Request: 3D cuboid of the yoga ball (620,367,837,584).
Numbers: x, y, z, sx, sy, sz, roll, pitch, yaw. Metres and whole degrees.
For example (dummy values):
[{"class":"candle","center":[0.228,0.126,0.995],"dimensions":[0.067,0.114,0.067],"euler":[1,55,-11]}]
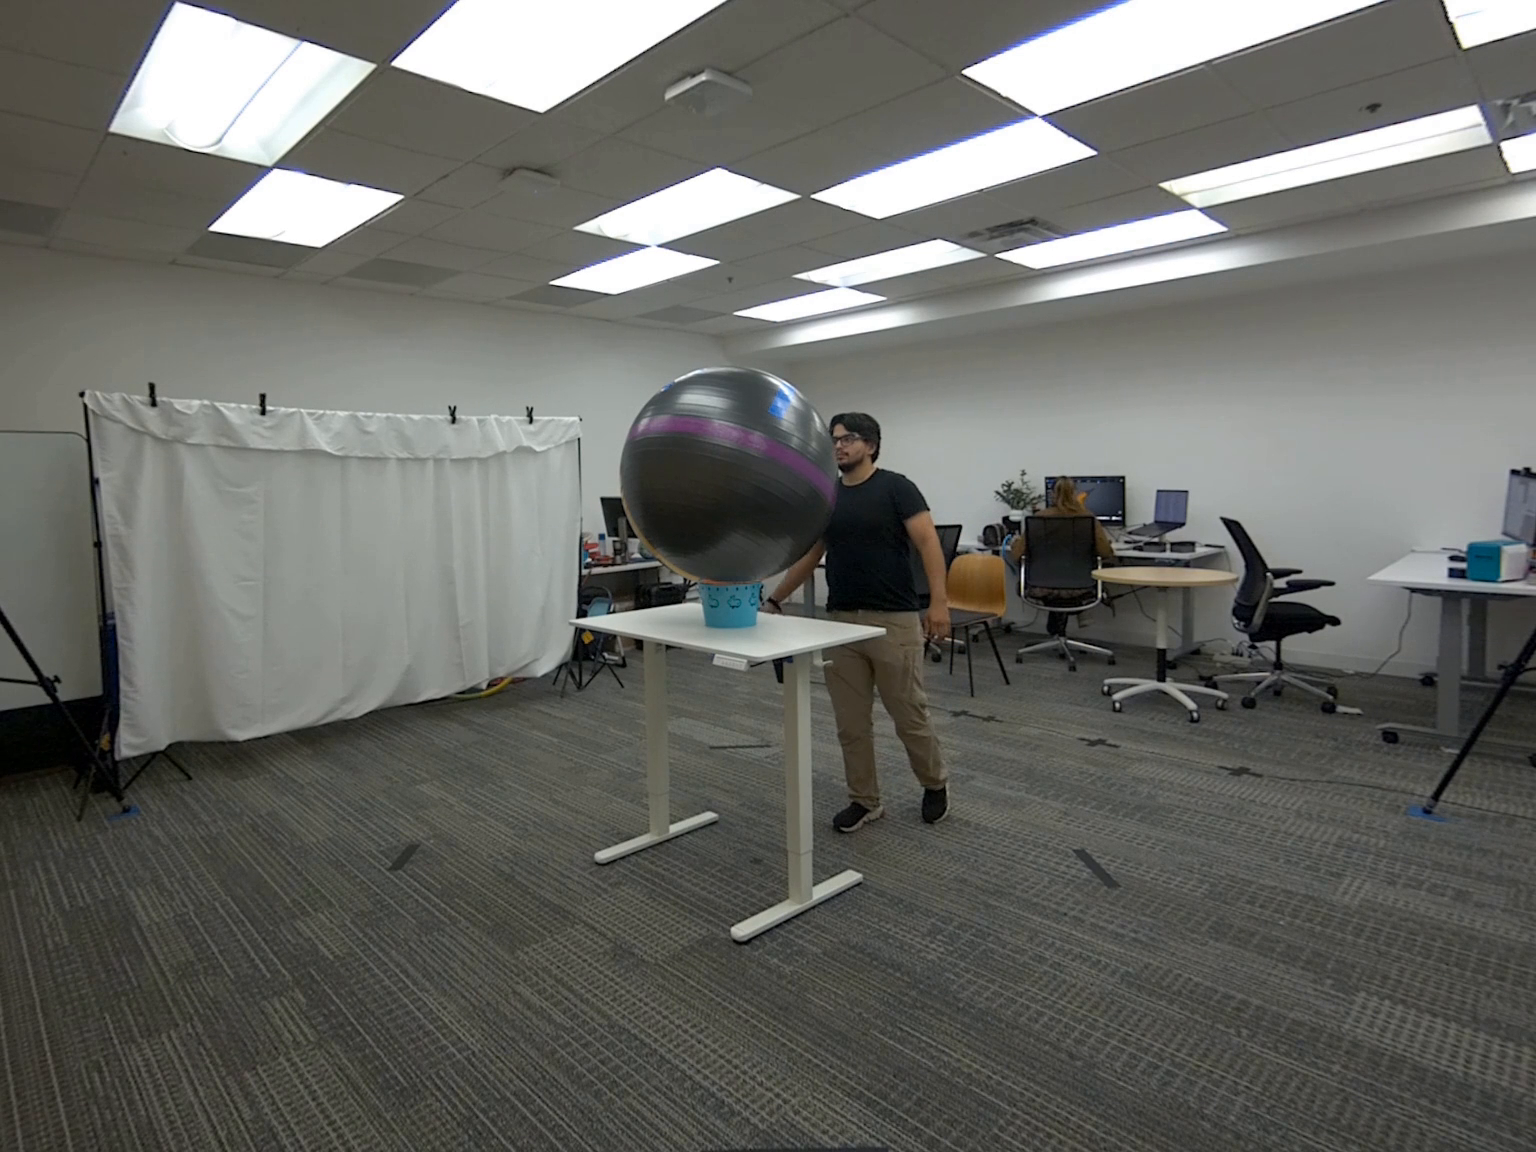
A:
[{"class":"yoga ball","center":[-0.141,-0.340,2.975],"dimensions":[0.757,0.755,0.762],"euler":[-1,5,-2]}]
